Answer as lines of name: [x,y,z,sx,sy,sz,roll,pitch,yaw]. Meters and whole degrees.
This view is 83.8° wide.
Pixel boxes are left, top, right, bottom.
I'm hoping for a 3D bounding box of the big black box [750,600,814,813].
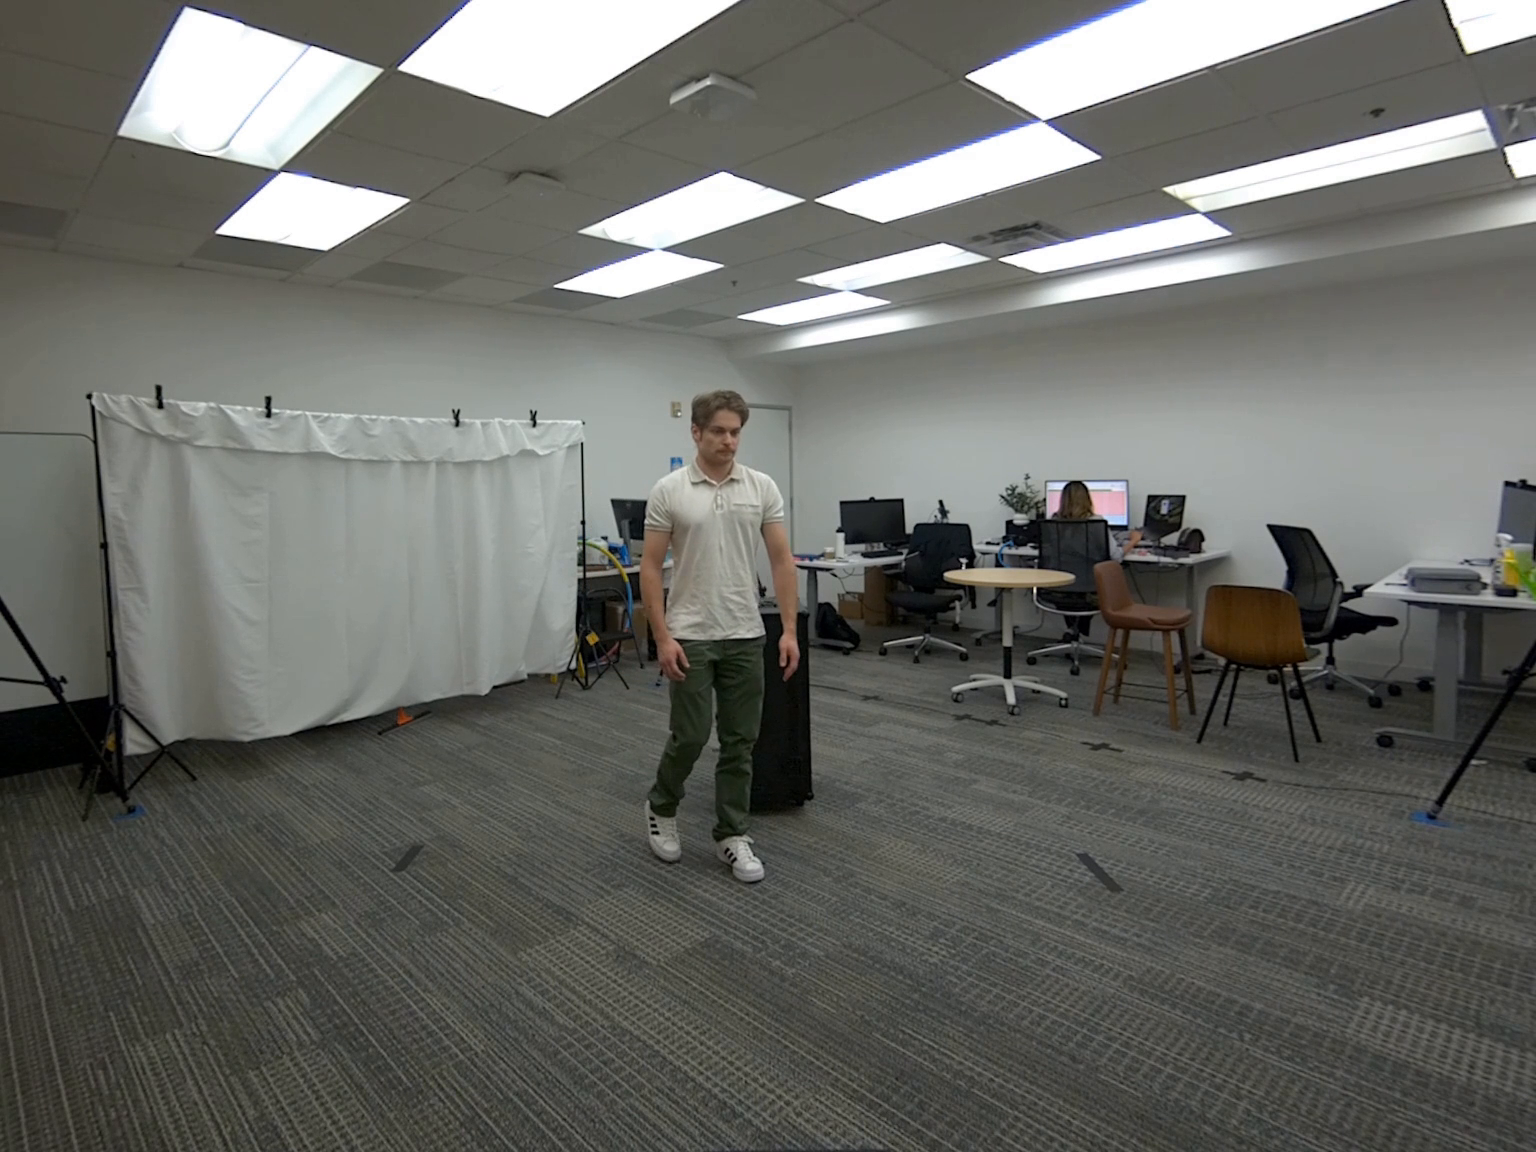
big black box: [-0.019,0.554,3.747,0.396,0.859,0.523,-2,4,-1]
